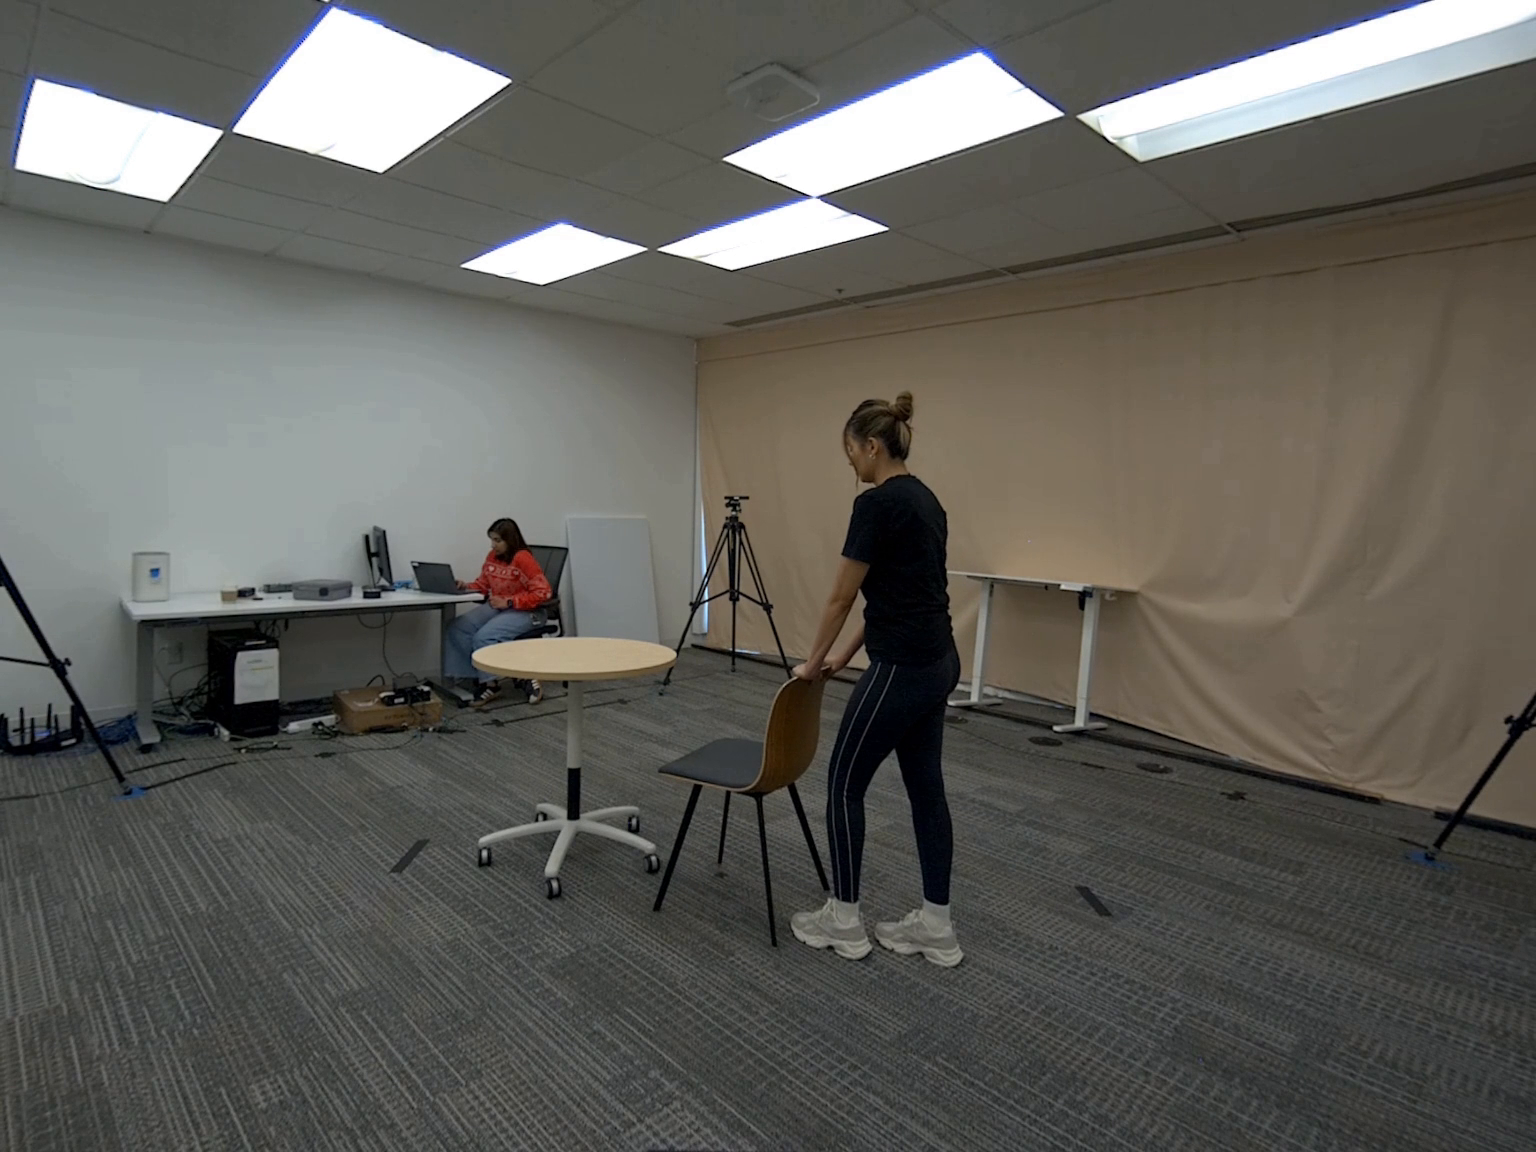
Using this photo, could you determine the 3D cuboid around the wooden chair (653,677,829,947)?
[{"bbox_3d":[-0.083,0.696,2.878,0.535,0.874,0.469,8,7,27],"label":"wooden chair"}]
